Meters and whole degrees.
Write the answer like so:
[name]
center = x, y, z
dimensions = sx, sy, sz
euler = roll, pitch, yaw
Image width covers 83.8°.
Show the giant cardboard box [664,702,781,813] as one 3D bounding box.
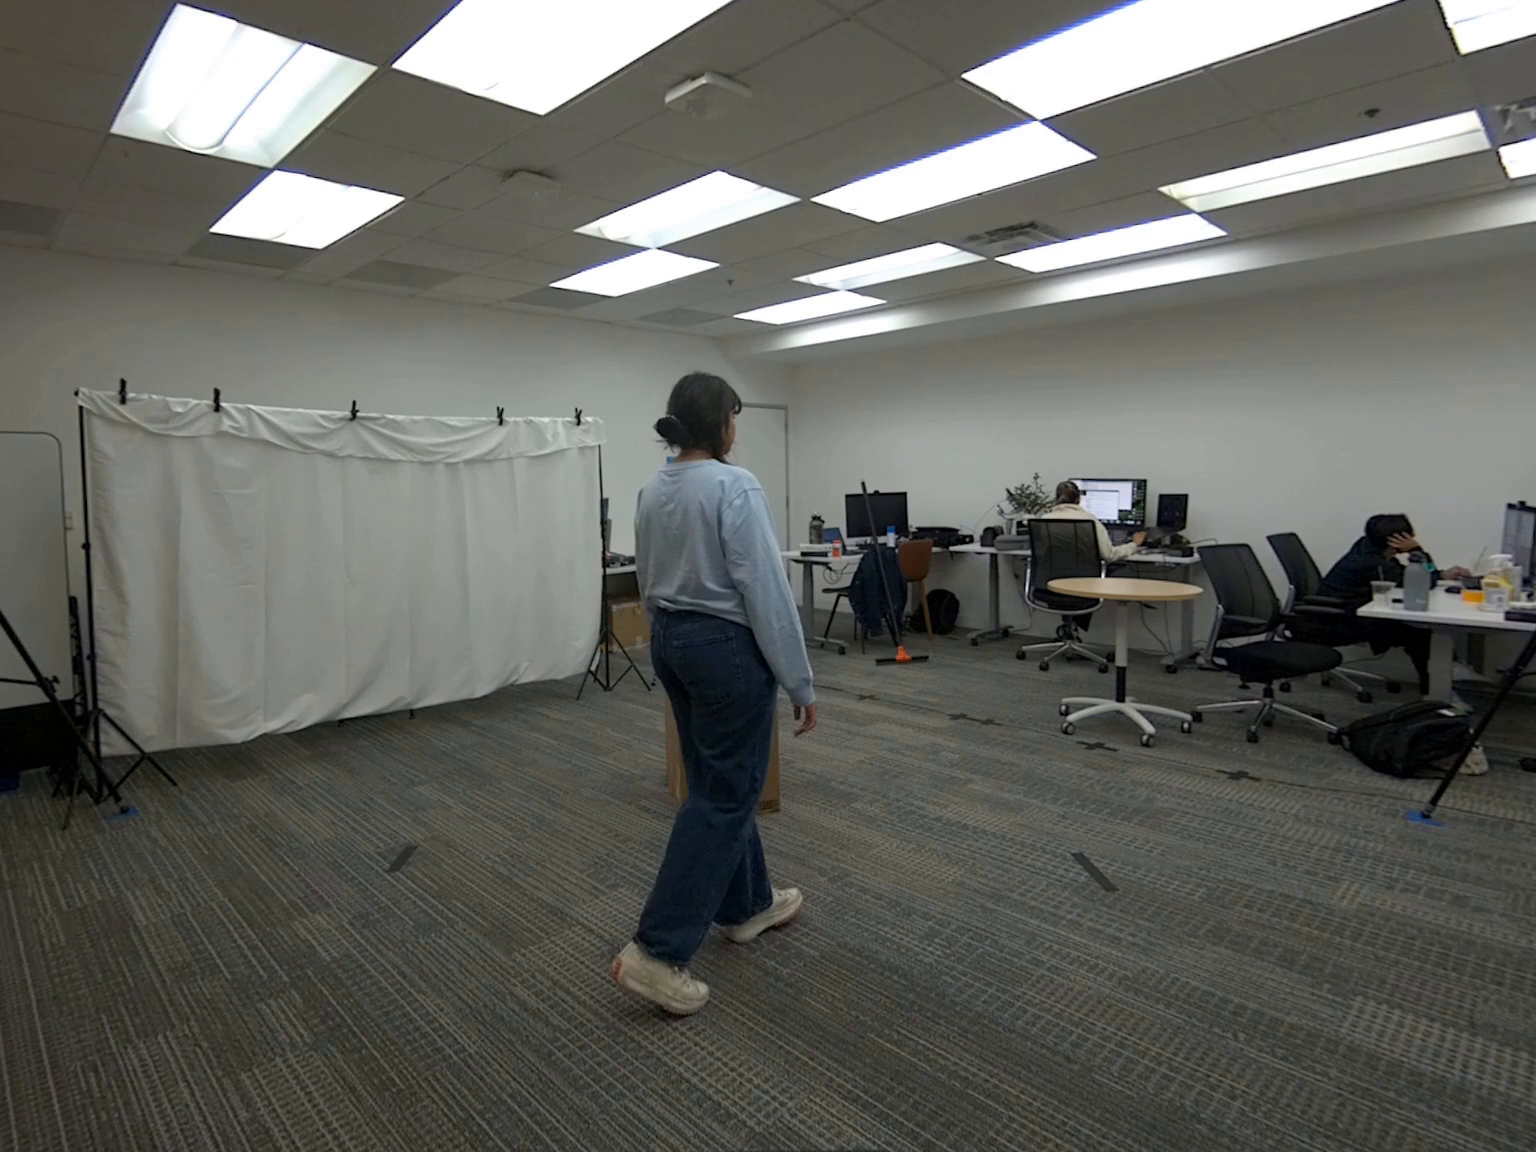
[giant cardboard box]
center = -0.231, 0.463, 3.807
dimensions = 0.421, 1.022, 0.586
euler = -2, 4, -13
